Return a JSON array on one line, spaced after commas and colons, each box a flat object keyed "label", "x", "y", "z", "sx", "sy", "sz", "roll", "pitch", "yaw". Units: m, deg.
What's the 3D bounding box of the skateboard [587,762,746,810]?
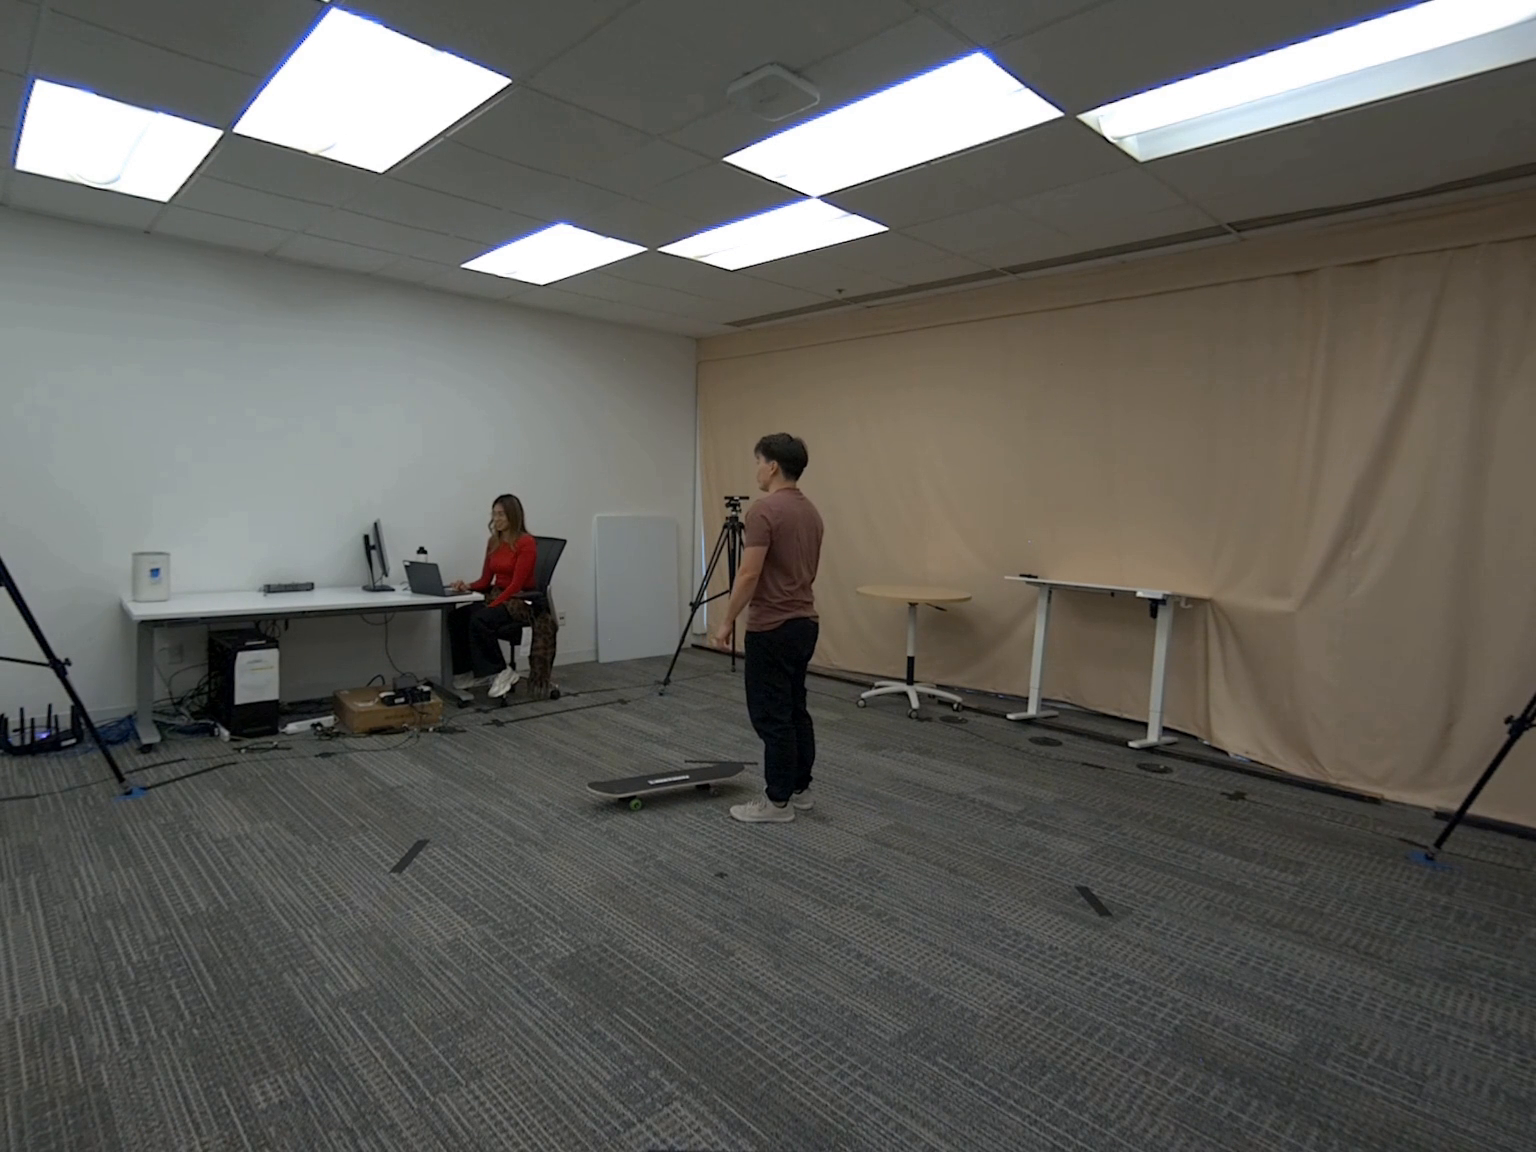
[{"label": "skateboard", "x": -0.468, "y": 0.968, "z": 3.886, "sx": 0.769, "sy": 0.110, "sz": 0.198, "roll": -1, "pitch": 6, "yaw": -30}]
